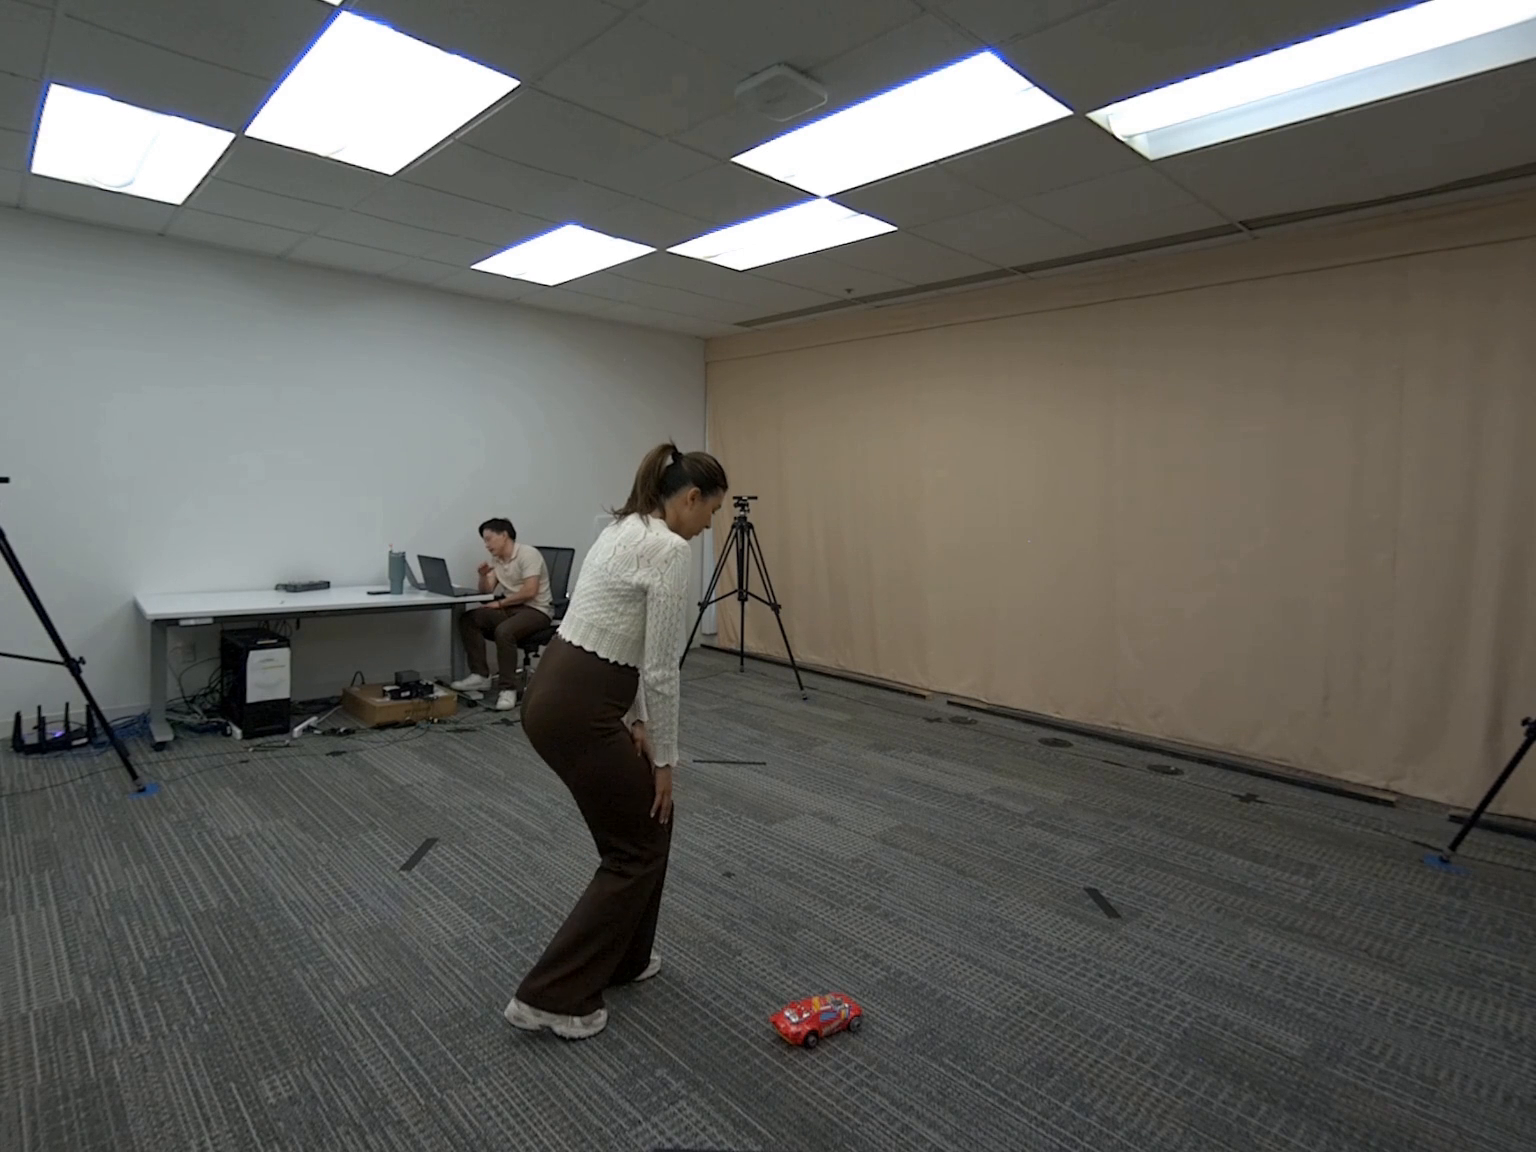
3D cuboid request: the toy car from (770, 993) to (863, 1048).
[{"bbox_3d":[0.118,1.165,2.194,0.248,0.083,0.133,11,0,-32],"label":"toy car"}]
